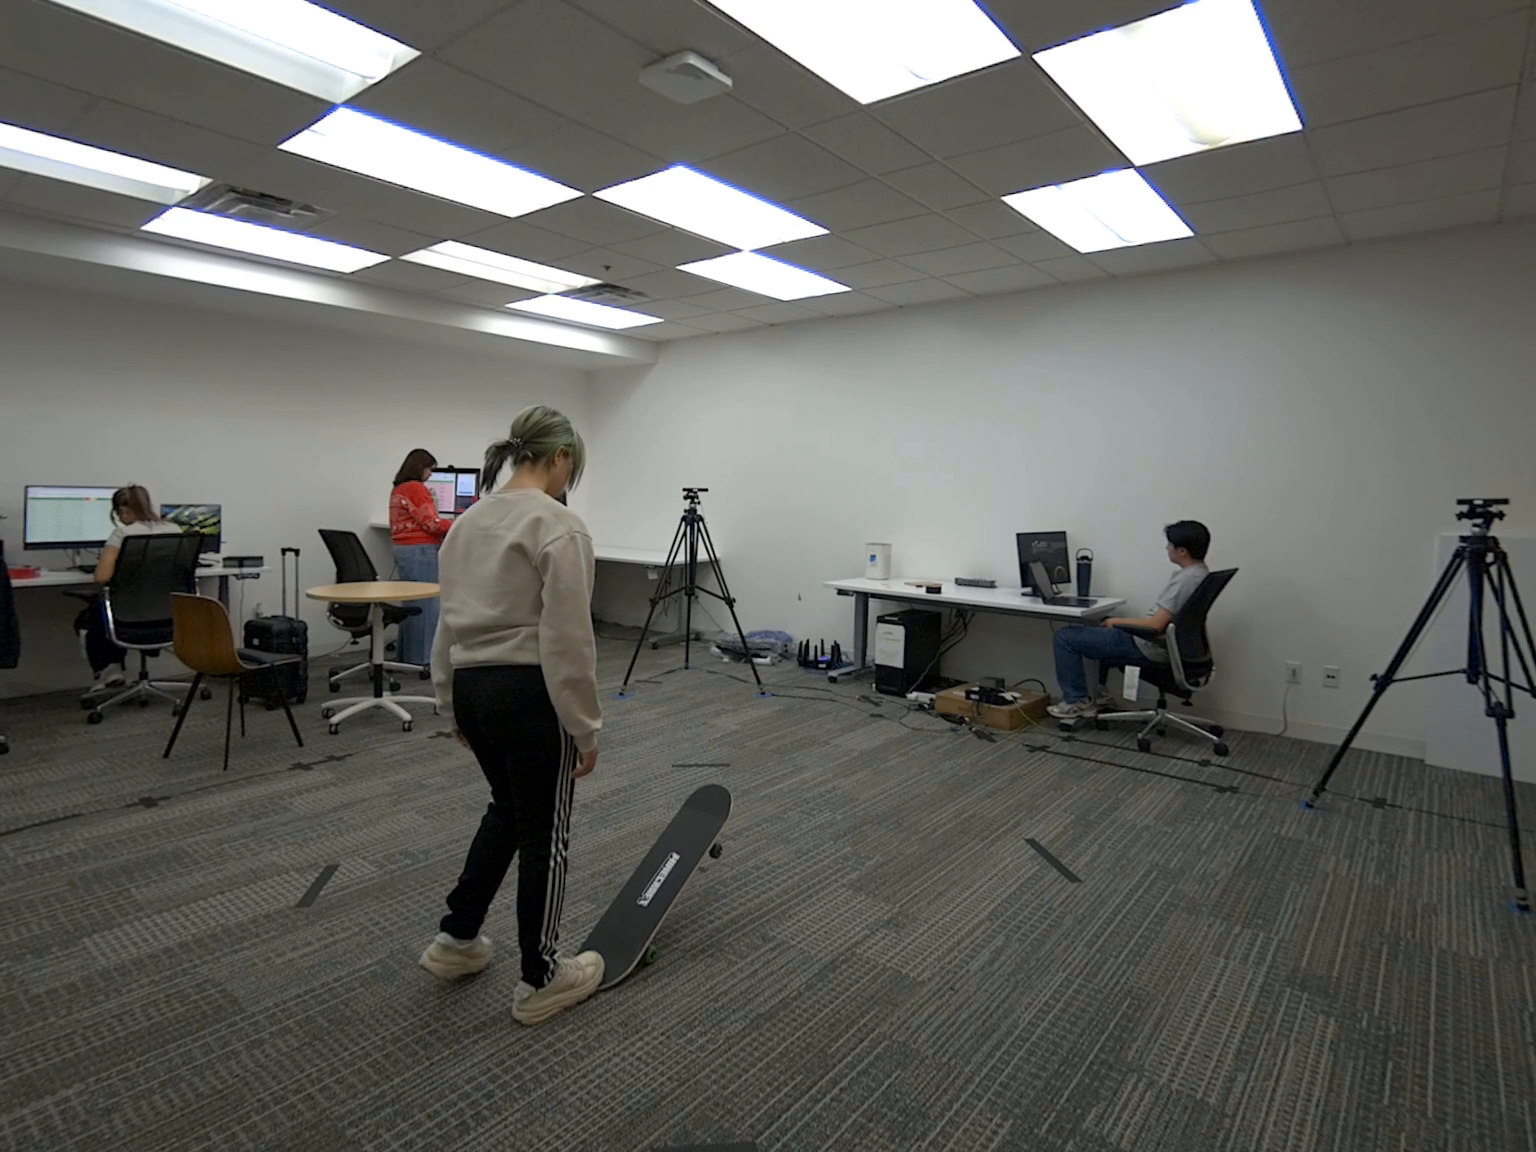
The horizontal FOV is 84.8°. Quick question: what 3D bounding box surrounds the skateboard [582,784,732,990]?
[{"bbox_3d":[-0.338,0.971,2.654,0.199,0.107,0.785,3,34,30],"label":"skateboard"}]
